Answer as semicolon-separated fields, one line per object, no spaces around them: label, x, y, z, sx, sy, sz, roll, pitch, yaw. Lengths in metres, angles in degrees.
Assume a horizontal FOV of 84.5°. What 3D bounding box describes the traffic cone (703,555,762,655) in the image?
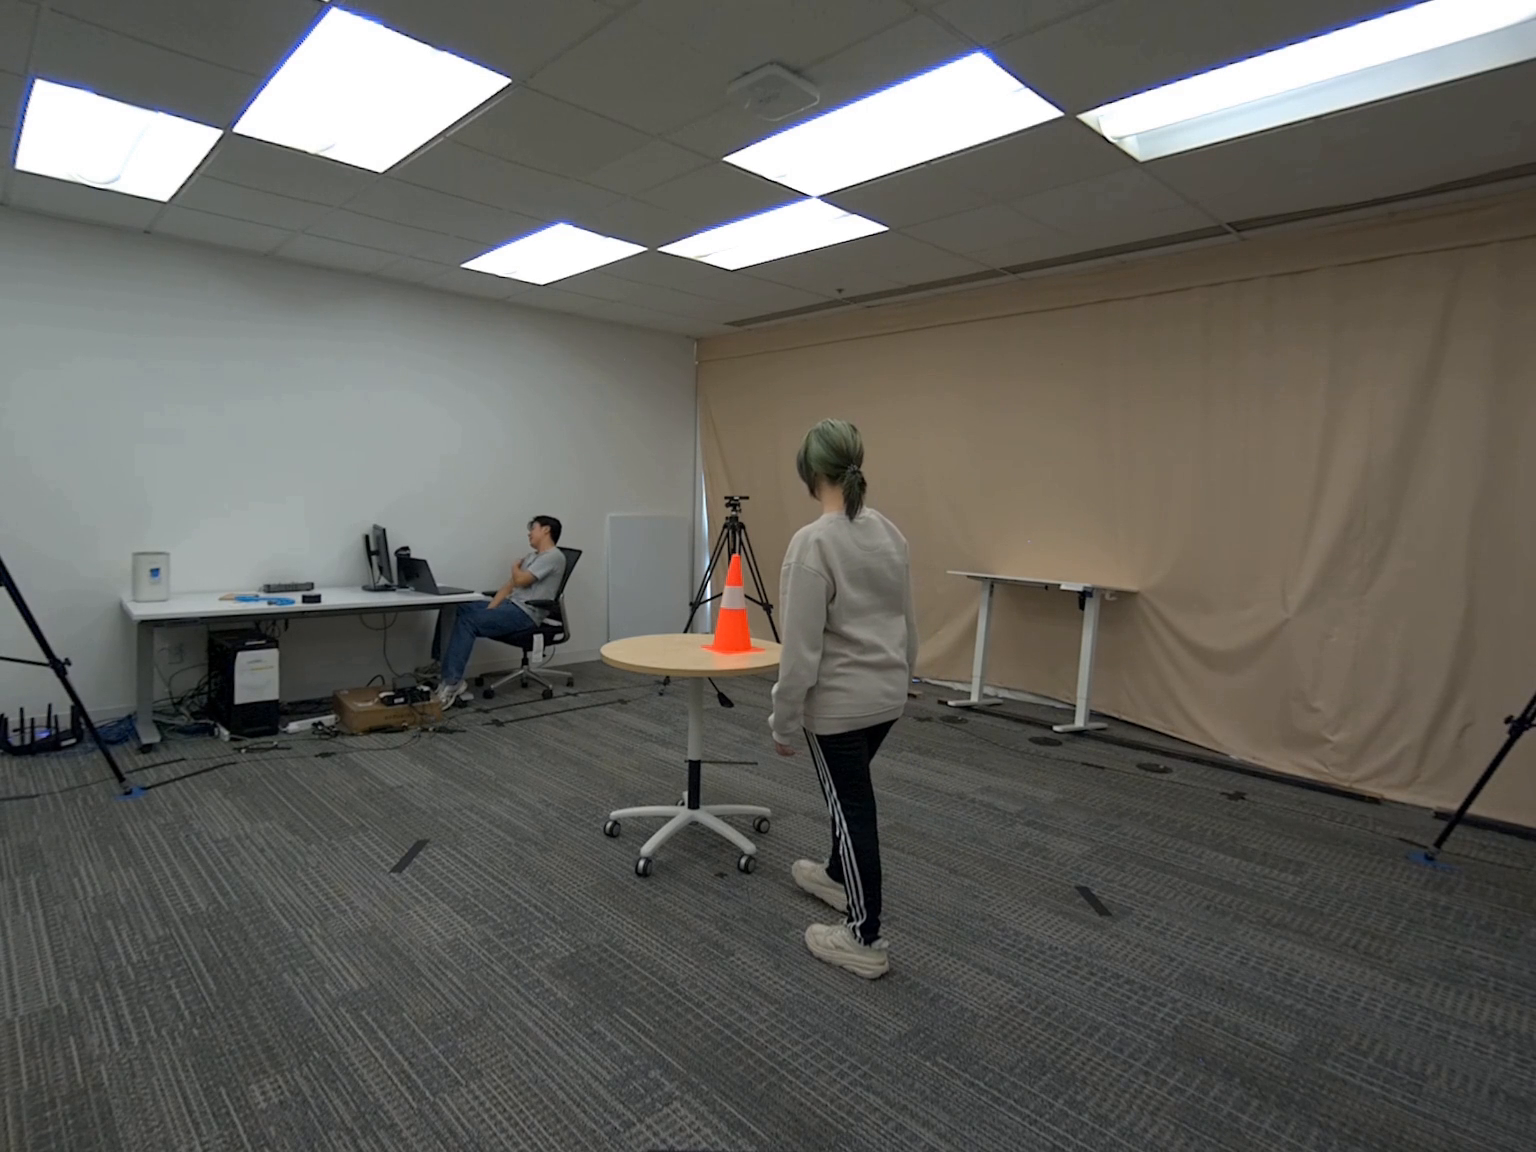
traffic cone;-0.140;0.107;3.389;0.200;0.383;0.208;0;4;-42
